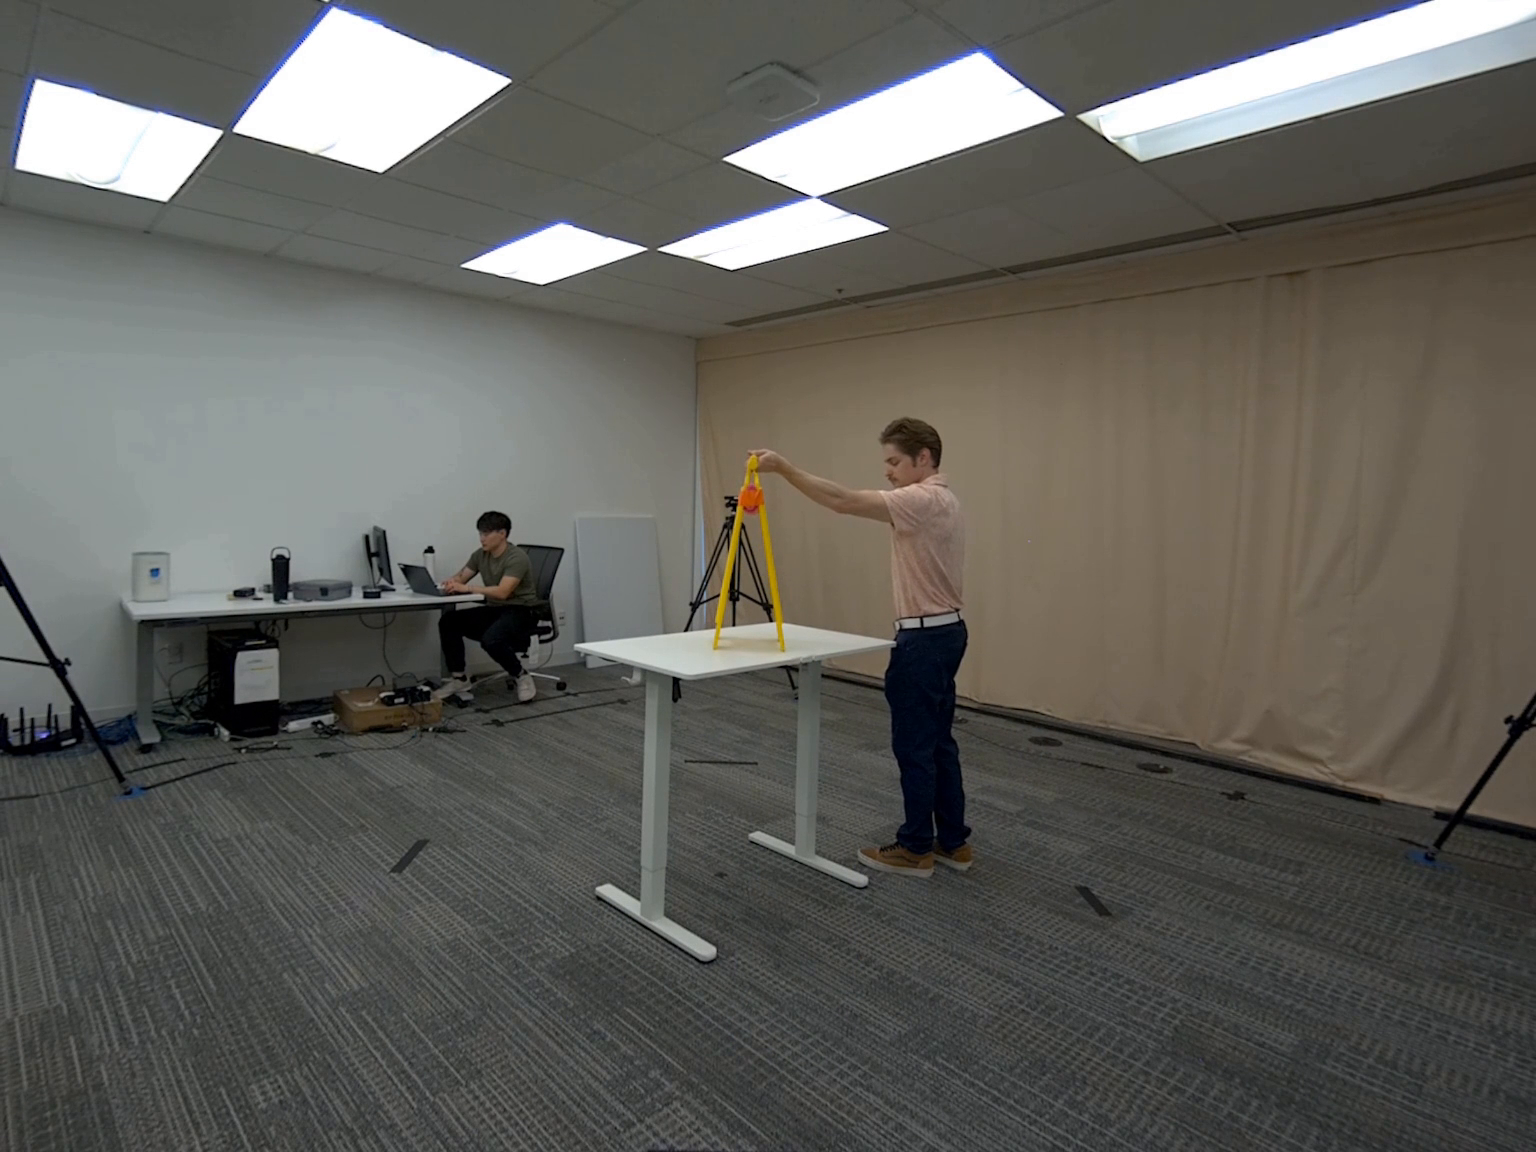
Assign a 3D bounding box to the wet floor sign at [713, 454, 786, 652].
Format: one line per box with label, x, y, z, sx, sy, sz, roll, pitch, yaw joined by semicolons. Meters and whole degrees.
wet floor sign;-0.068;-0.077;2.915;0.291;0.644;0.282;1;5;4
